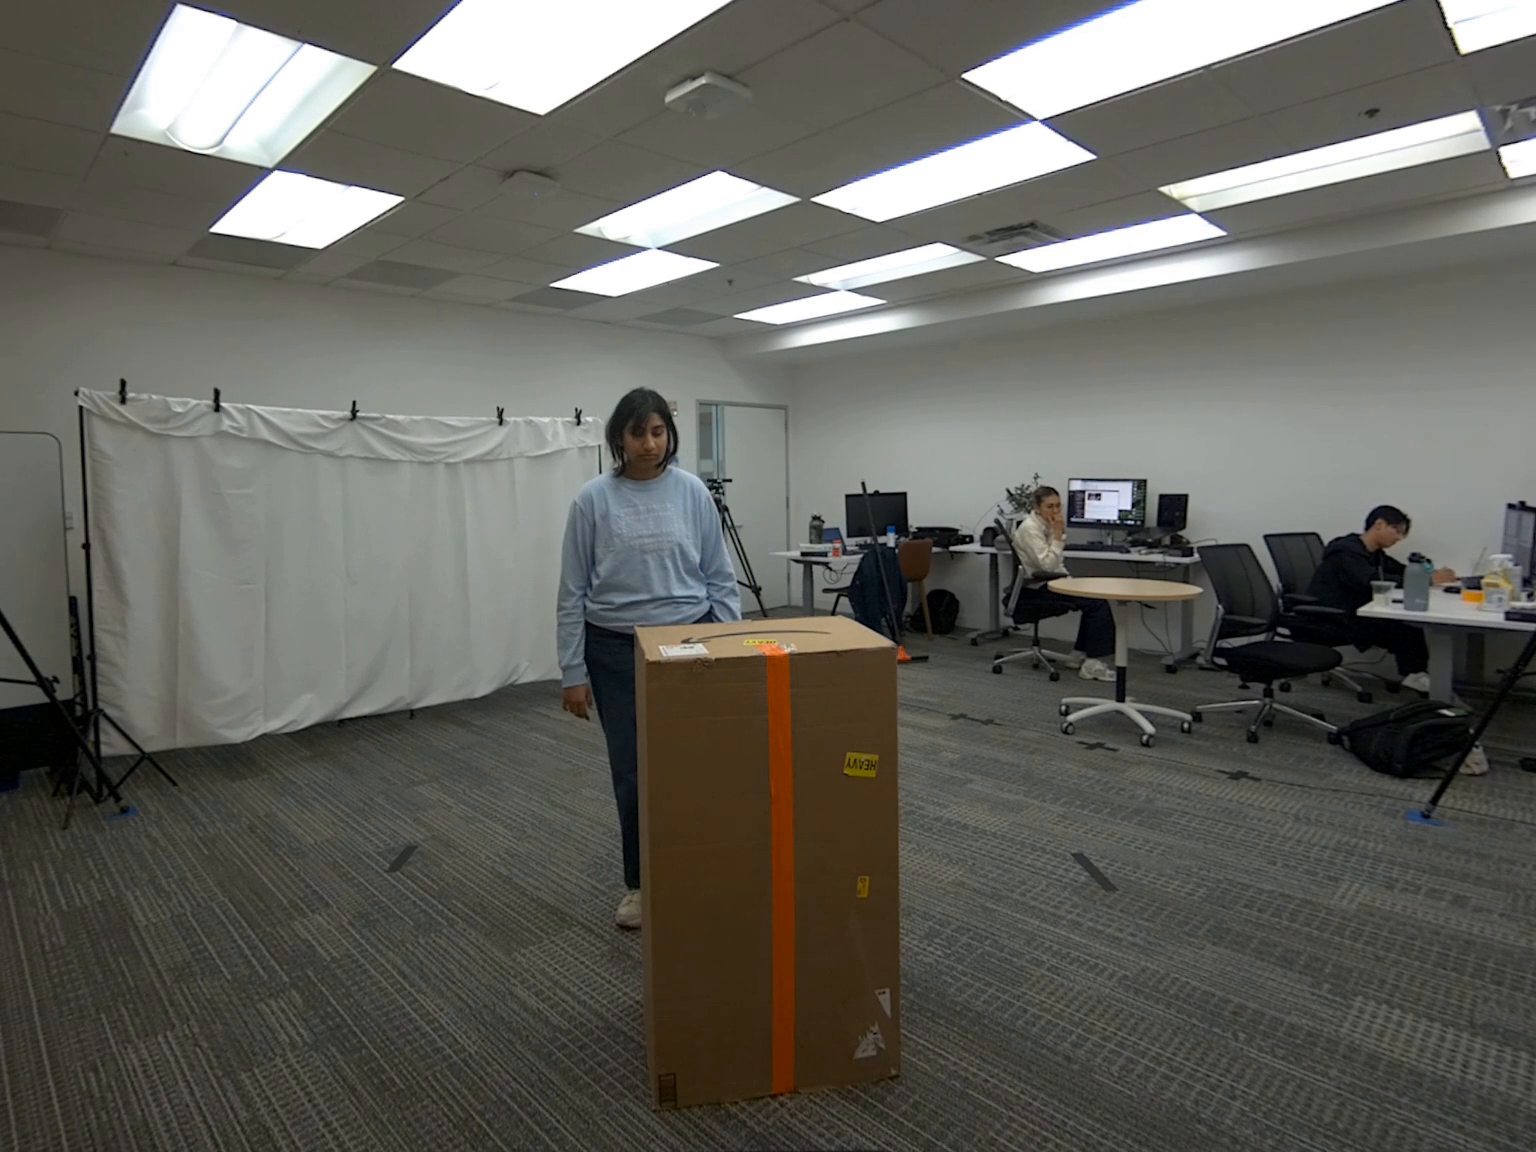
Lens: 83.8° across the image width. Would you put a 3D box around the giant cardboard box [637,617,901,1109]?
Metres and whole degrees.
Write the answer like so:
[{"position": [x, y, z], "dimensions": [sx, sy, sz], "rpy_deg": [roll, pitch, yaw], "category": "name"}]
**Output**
[{"position": [-0.015, 0.653, 2.112], "dimensions": [0.572, 1.022, 0.432], "rpy_deg": [-2, 5, -11], "category": "giant cardboard box"}]
